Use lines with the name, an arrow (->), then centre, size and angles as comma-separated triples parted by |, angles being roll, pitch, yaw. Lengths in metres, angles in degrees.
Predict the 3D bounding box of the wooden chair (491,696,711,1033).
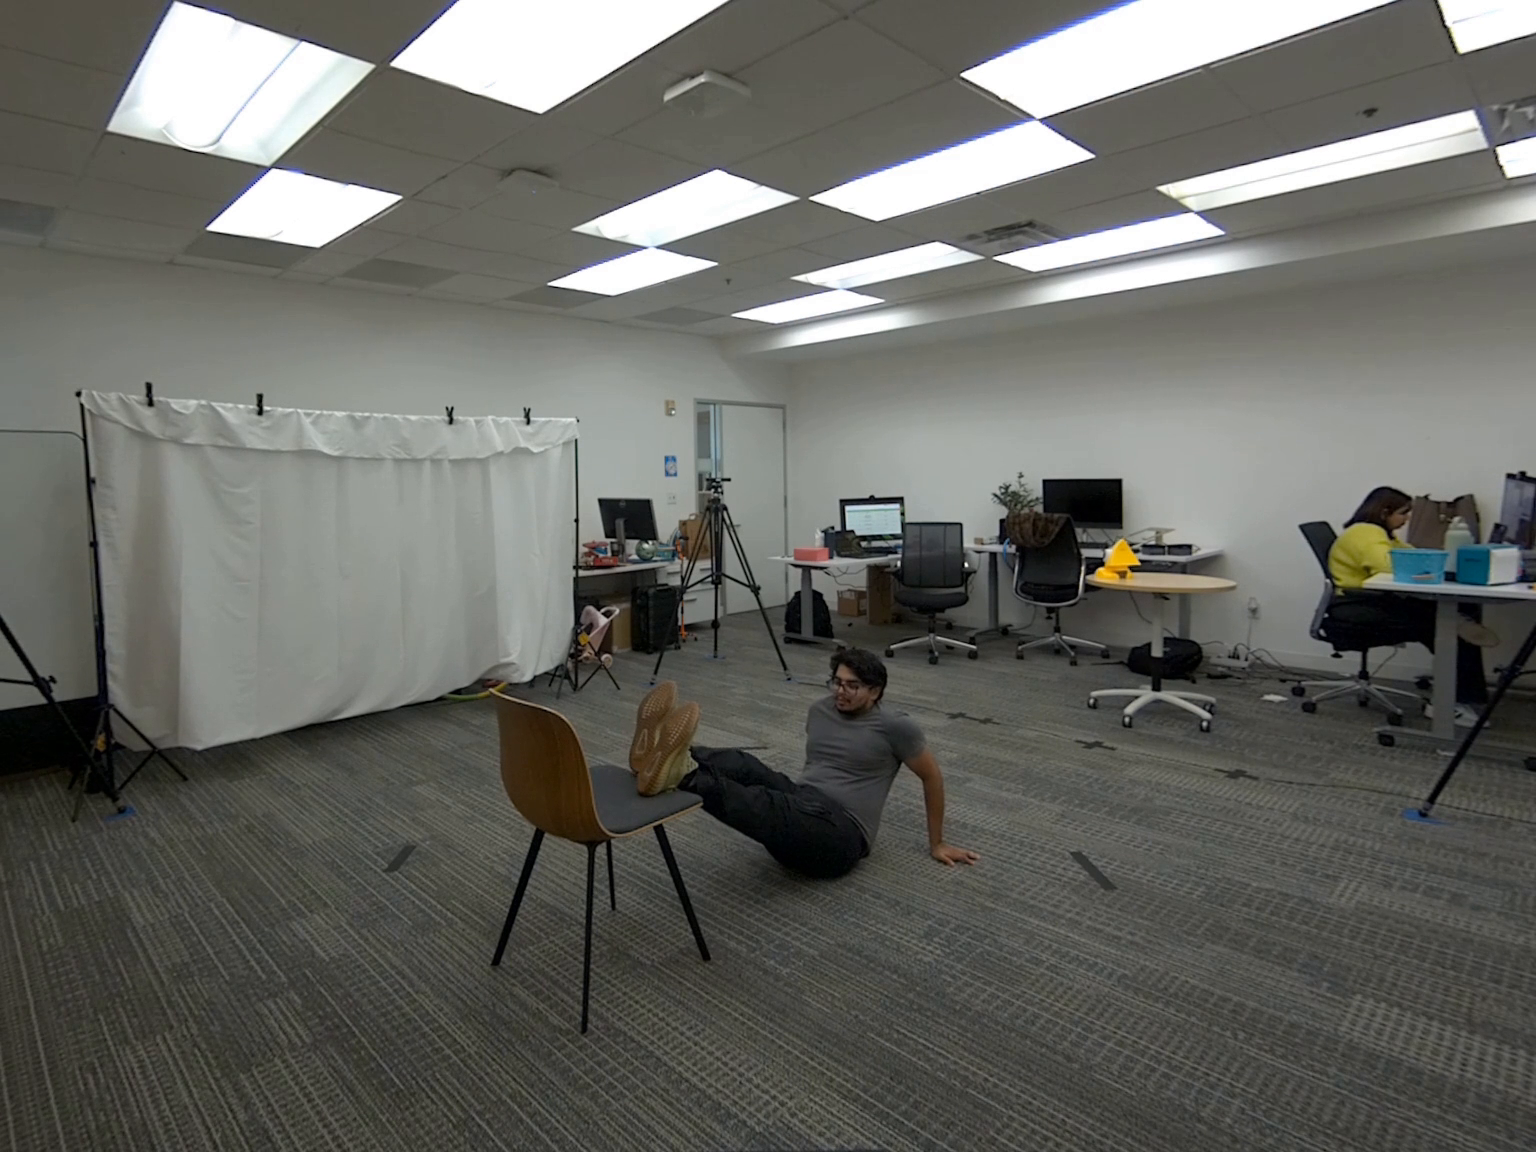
wooden chair -> -0.483, 0.703, 2.453 | 0.493, 0.871, 0.511 | 3, 10, 43
